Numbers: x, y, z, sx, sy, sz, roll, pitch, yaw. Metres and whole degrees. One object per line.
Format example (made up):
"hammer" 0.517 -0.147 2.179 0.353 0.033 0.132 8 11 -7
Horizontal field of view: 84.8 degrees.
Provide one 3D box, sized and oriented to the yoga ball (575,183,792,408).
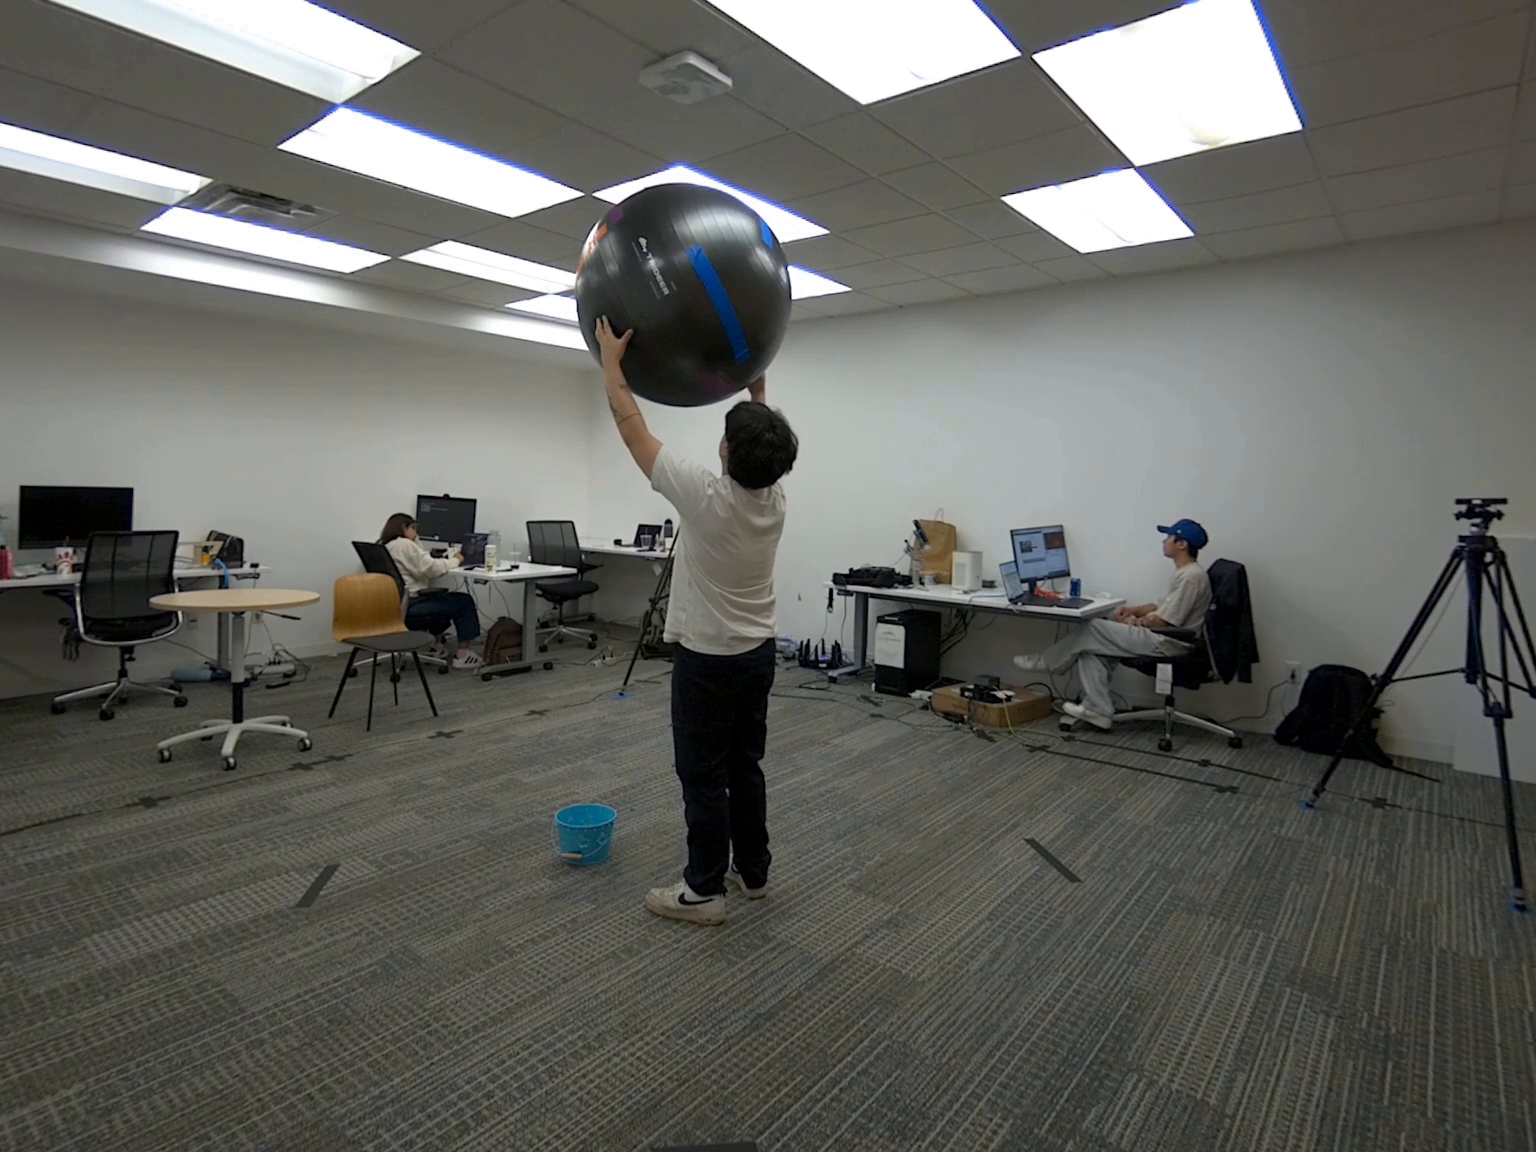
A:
"yoga ball" -0.307 -0.973 2.979 0.757 0.755 0.762 1 4 -2
